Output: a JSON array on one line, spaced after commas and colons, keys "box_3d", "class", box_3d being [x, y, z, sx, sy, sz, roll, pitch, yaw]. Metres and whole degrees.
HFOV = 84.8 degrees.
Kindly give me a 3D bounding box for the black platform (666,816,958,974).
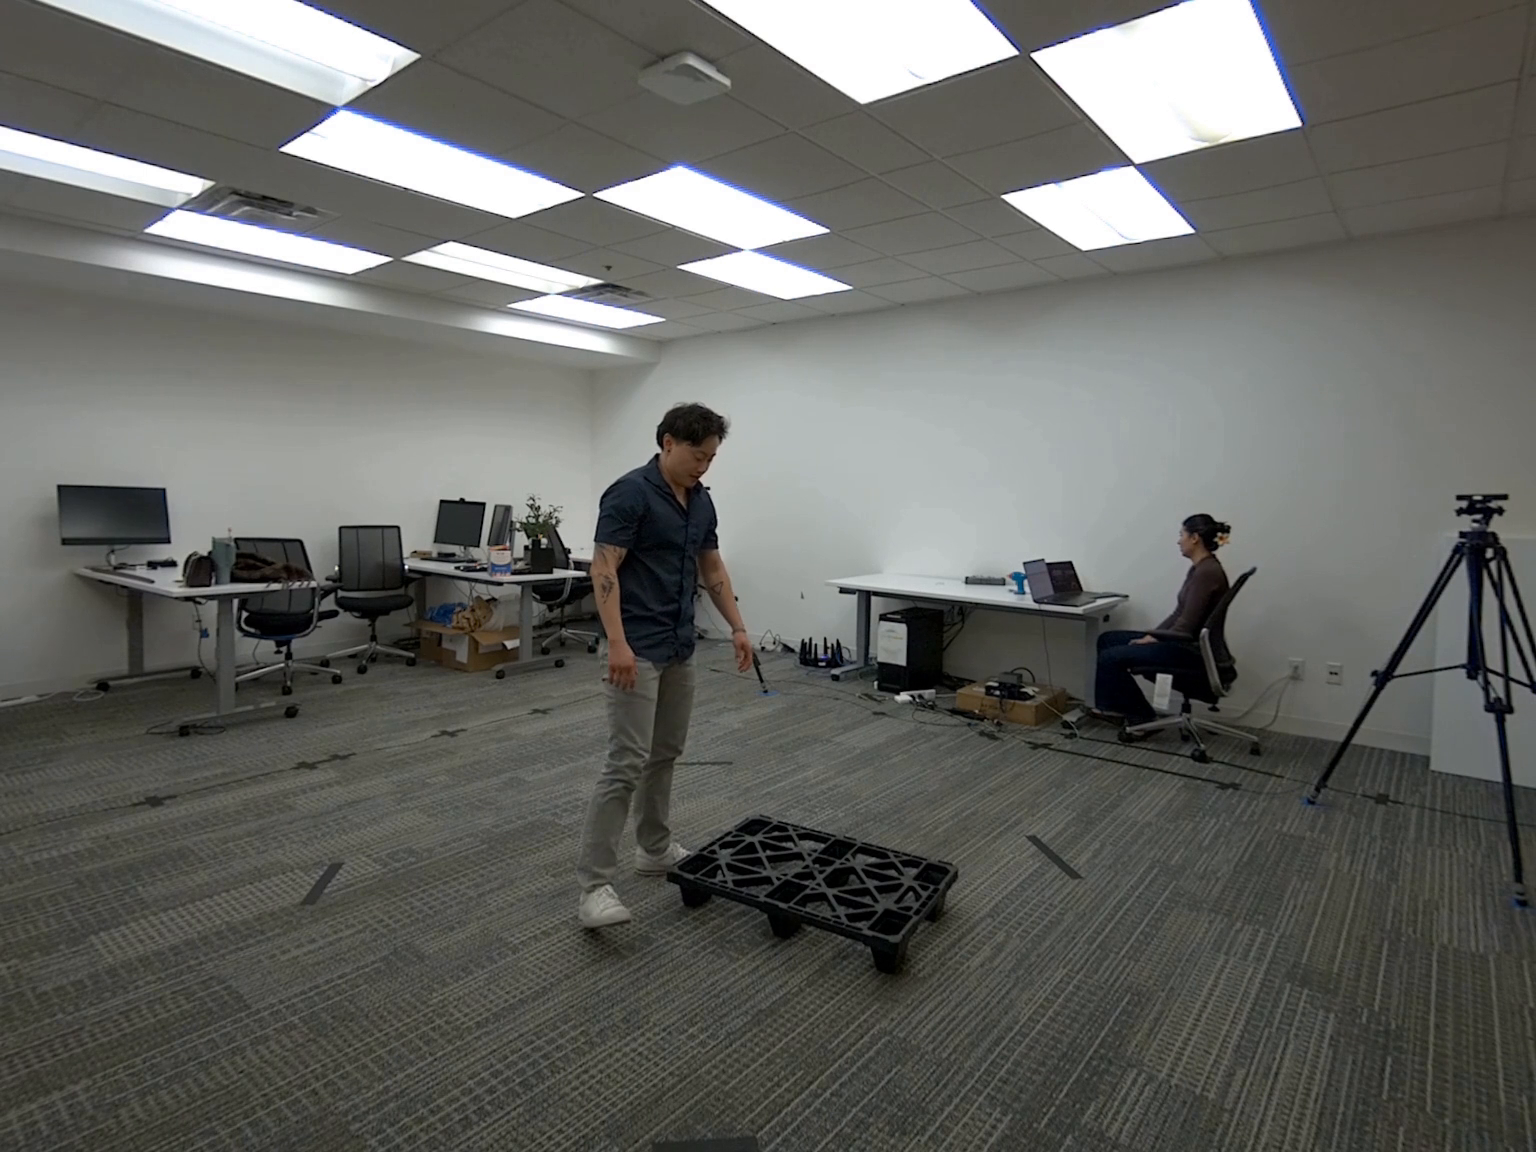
[{"box_3d": [0.146, 1.034, 2.825, 0.830, 0.142, 0.590, 4, 7, 31], "class": "black platform"}]
